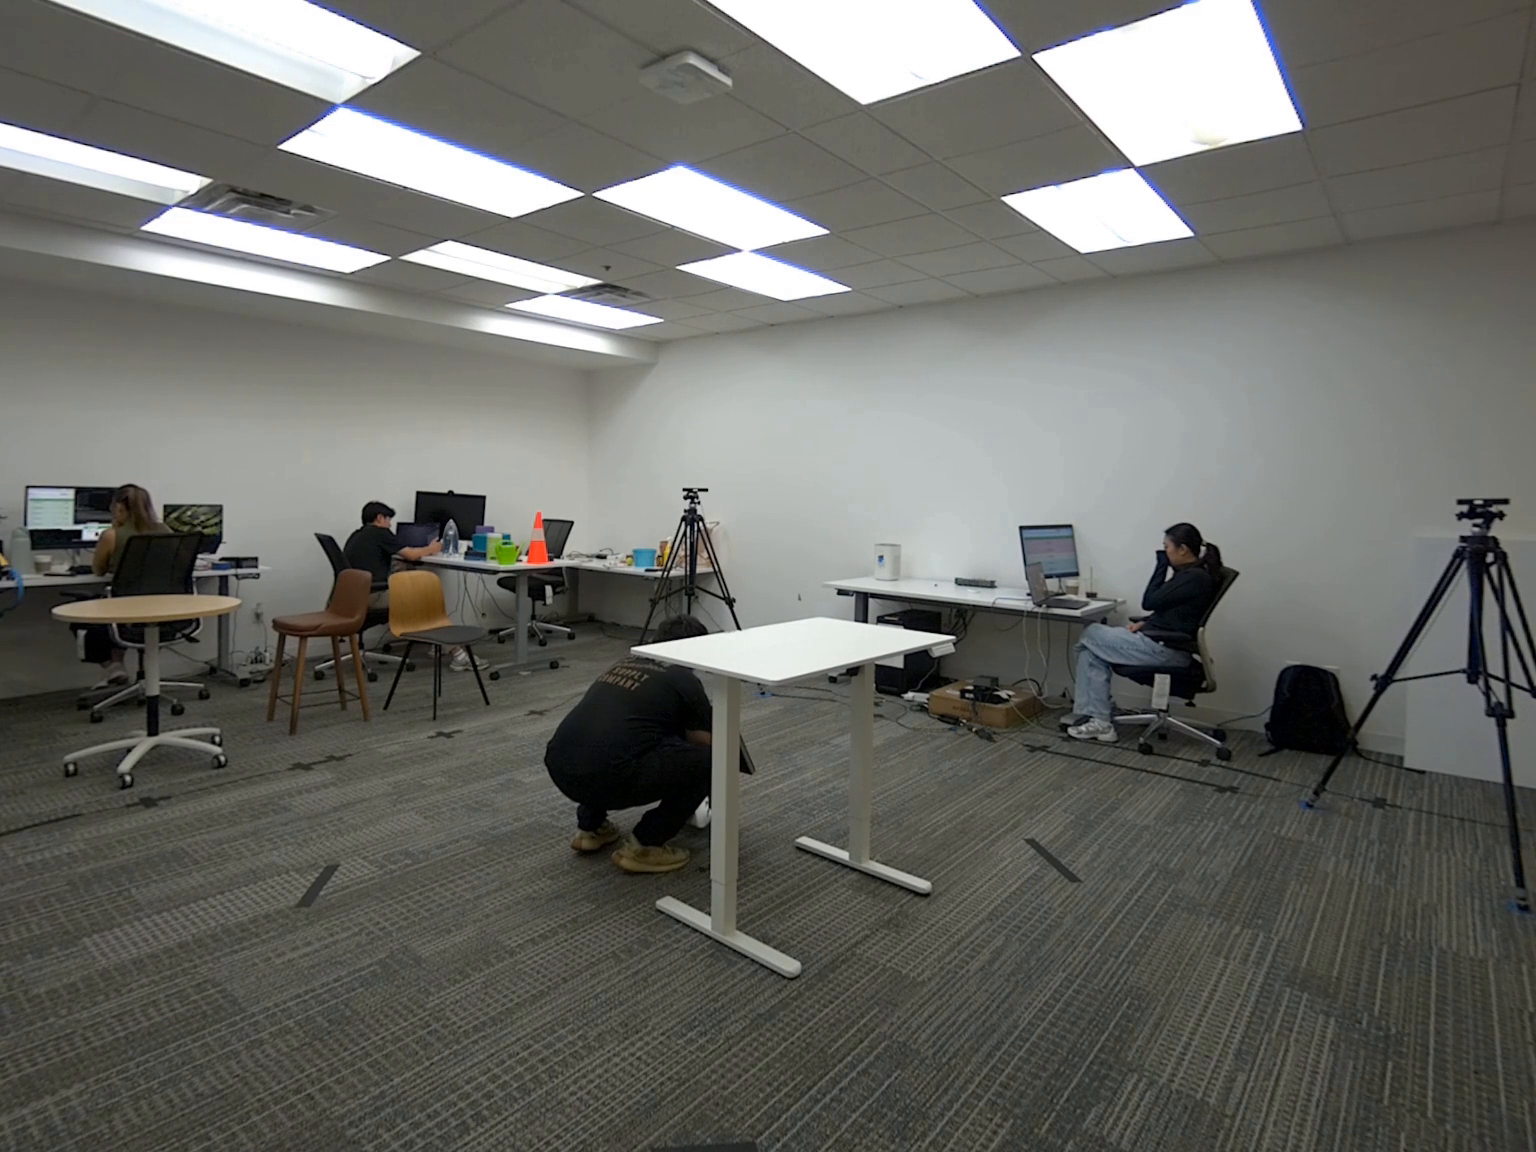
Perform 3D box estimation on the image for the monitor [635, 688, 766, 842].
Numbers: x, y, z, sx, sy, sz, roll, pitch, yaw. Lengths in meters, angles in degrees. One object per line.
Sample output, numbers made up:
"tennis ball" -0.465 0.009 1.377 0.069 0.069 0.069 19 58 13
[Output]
"monitor" -0.360 0.728 3.452 0.584 0.541 0.208 4 28 37
